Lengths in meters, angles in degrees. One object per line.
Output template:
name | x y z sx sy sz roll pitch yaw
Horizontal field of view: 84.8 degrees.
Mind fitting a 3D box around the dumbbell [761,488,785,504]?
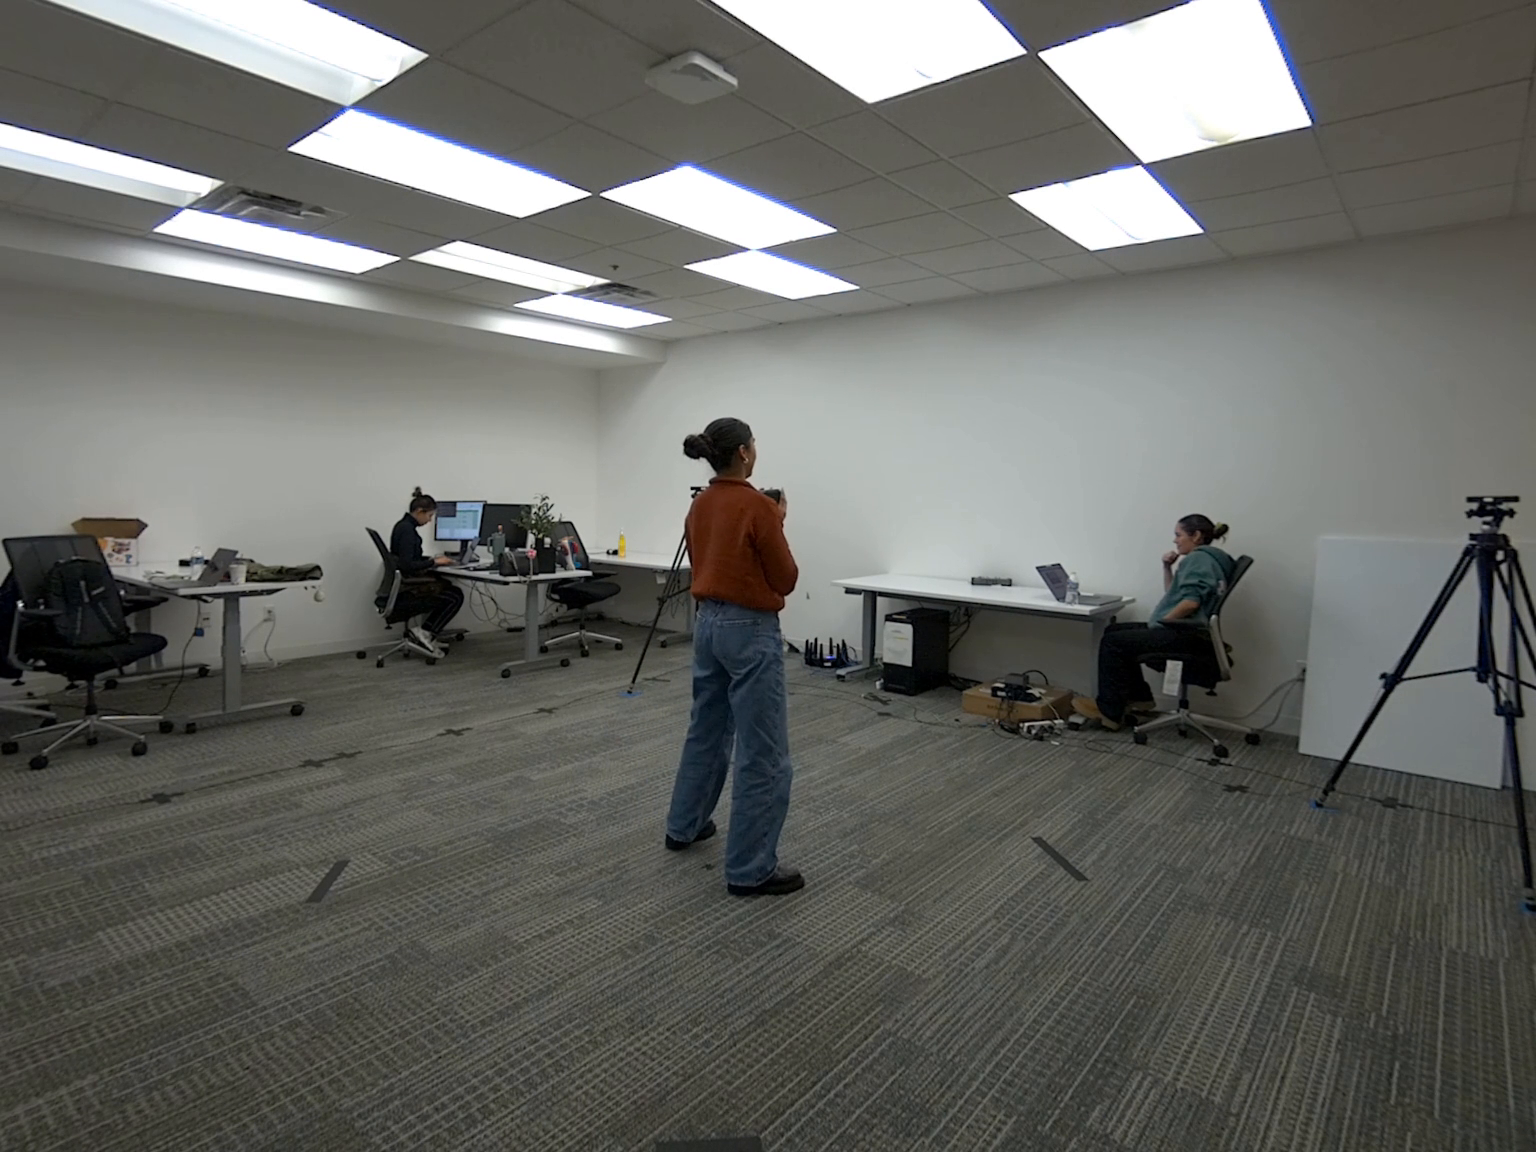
dumbbell | -0.002 -0.169 3.124 0.127 0.291 0.106 3 11 42
